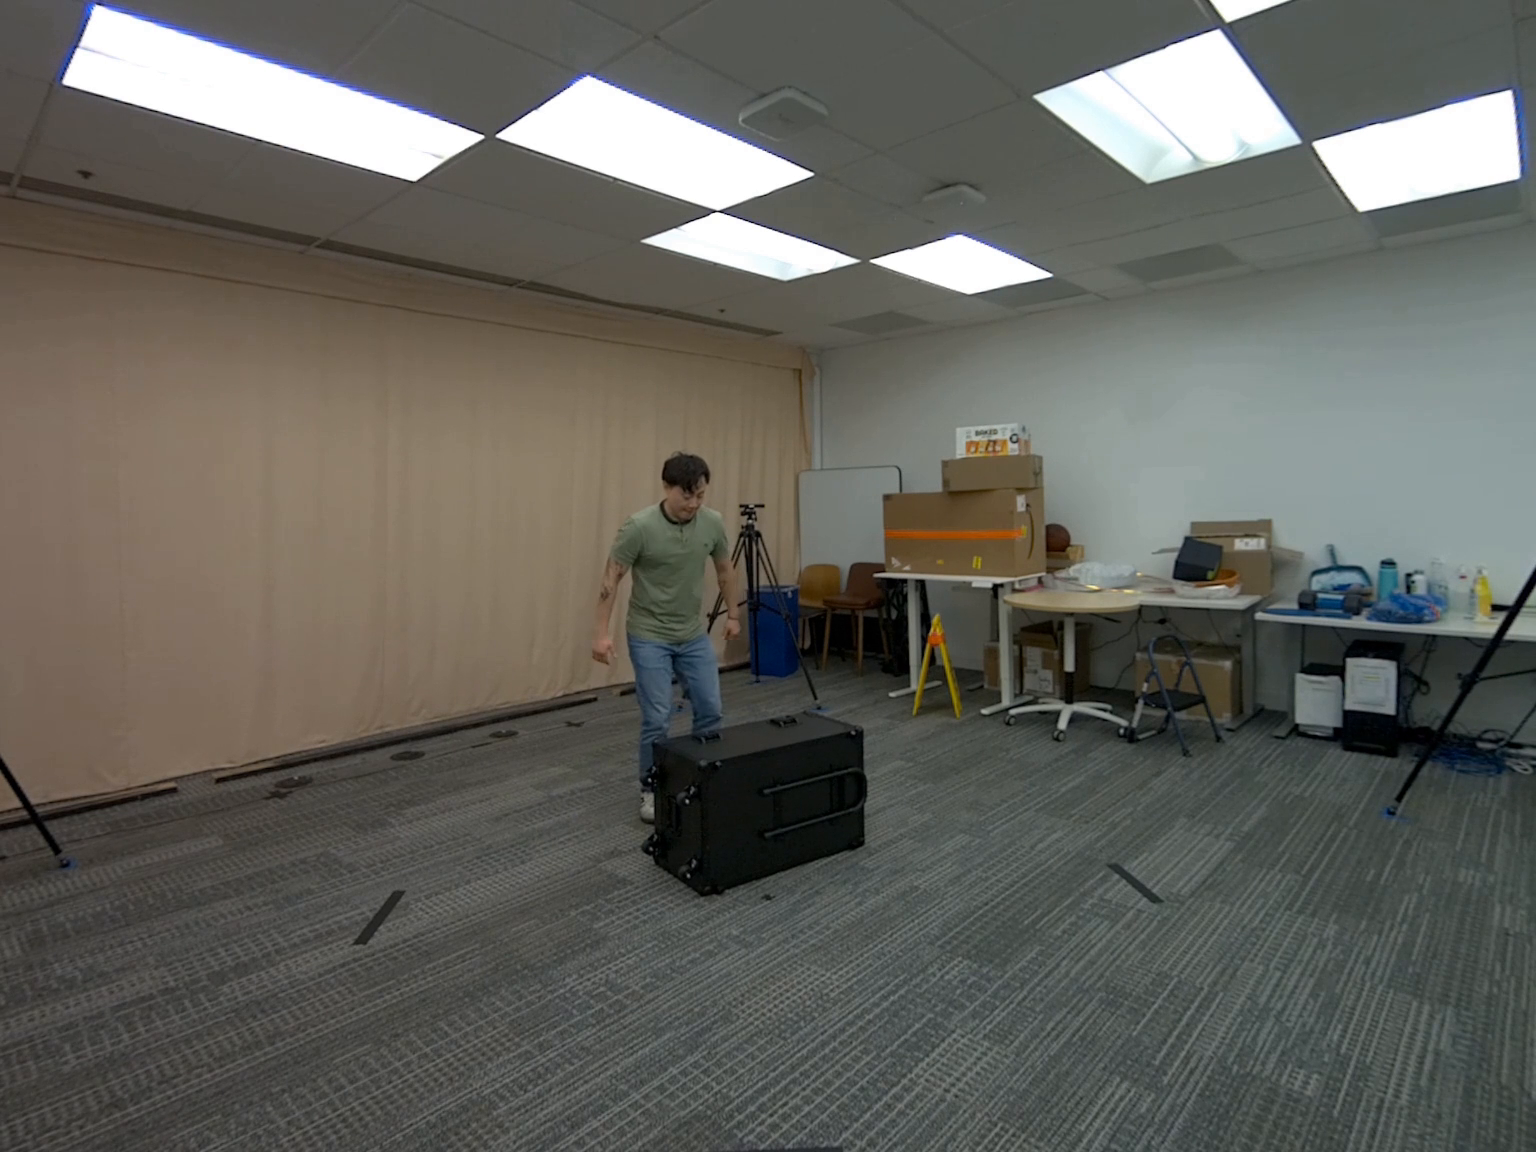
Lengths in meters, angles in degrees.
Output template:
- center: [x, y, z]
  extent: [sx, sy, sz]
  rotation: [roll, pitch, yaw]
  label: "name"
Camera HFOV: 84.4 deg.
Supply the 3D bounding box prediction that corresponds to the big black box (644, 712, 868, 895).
- center: [-0.043, 0.871, 3.308]
  extent: [0.837, 0.520, 0.408]
  rotation: [-5, 5, -34]
  label: "big black box"
